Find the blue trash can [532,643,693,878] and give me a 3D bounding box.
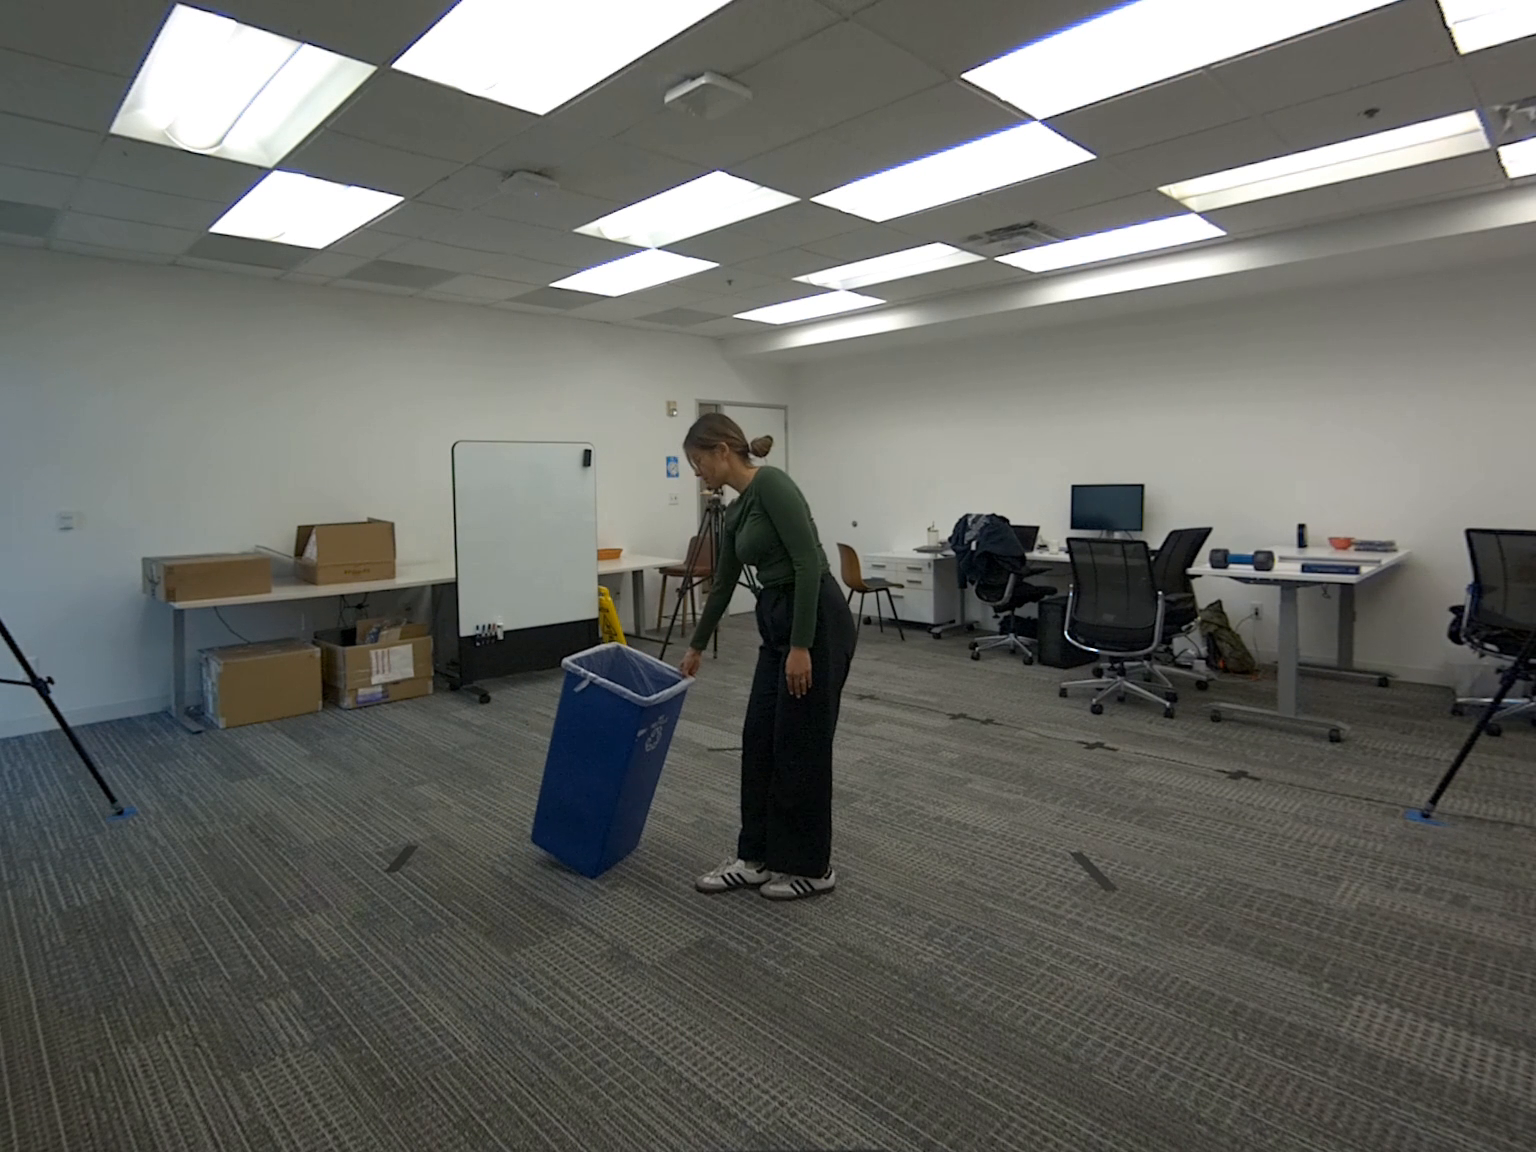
[{"bbox_3d":[-0.591,0.665,3.117,0.384,0.708,0.371,22,13,21],"label":"blue trash can"}]
